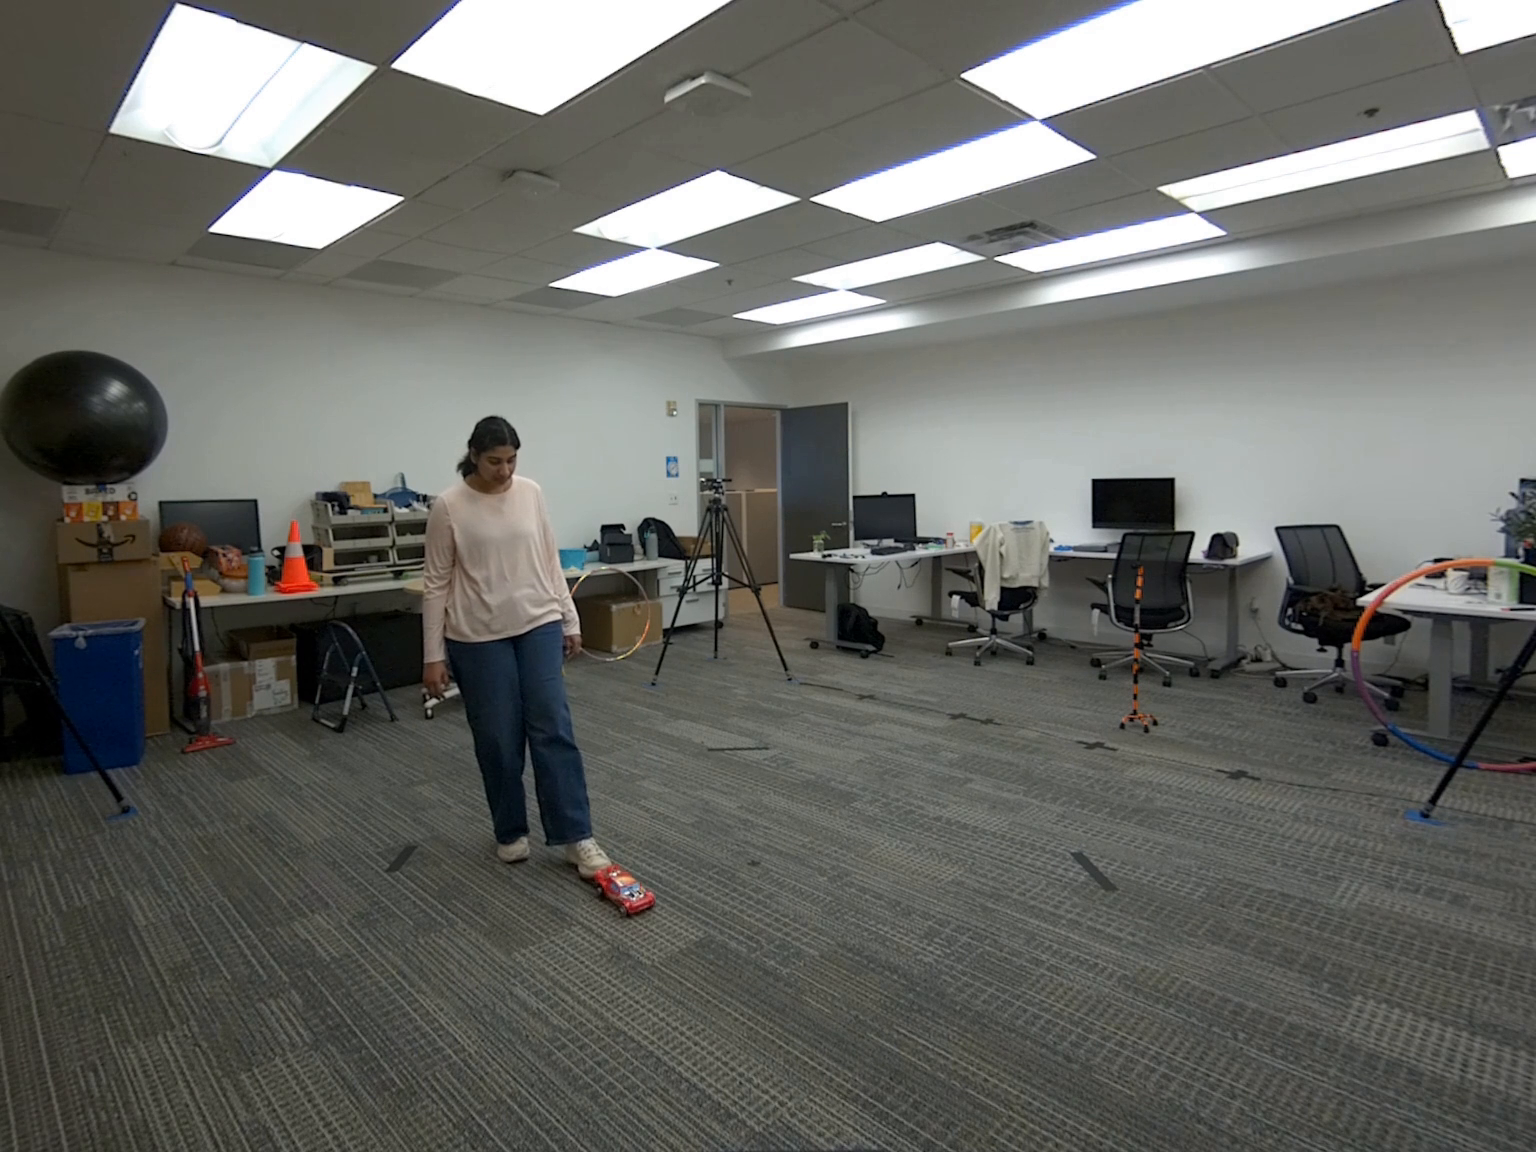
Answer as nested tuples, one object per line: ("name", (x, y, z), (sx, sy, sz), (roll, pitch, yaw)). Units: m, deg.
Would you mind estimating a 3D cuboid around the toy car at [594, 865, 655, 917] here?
("toy car", (-0.484, 1.046, 2.846), (0.127, 0.082, 0.264), (-6, 22, -38))
